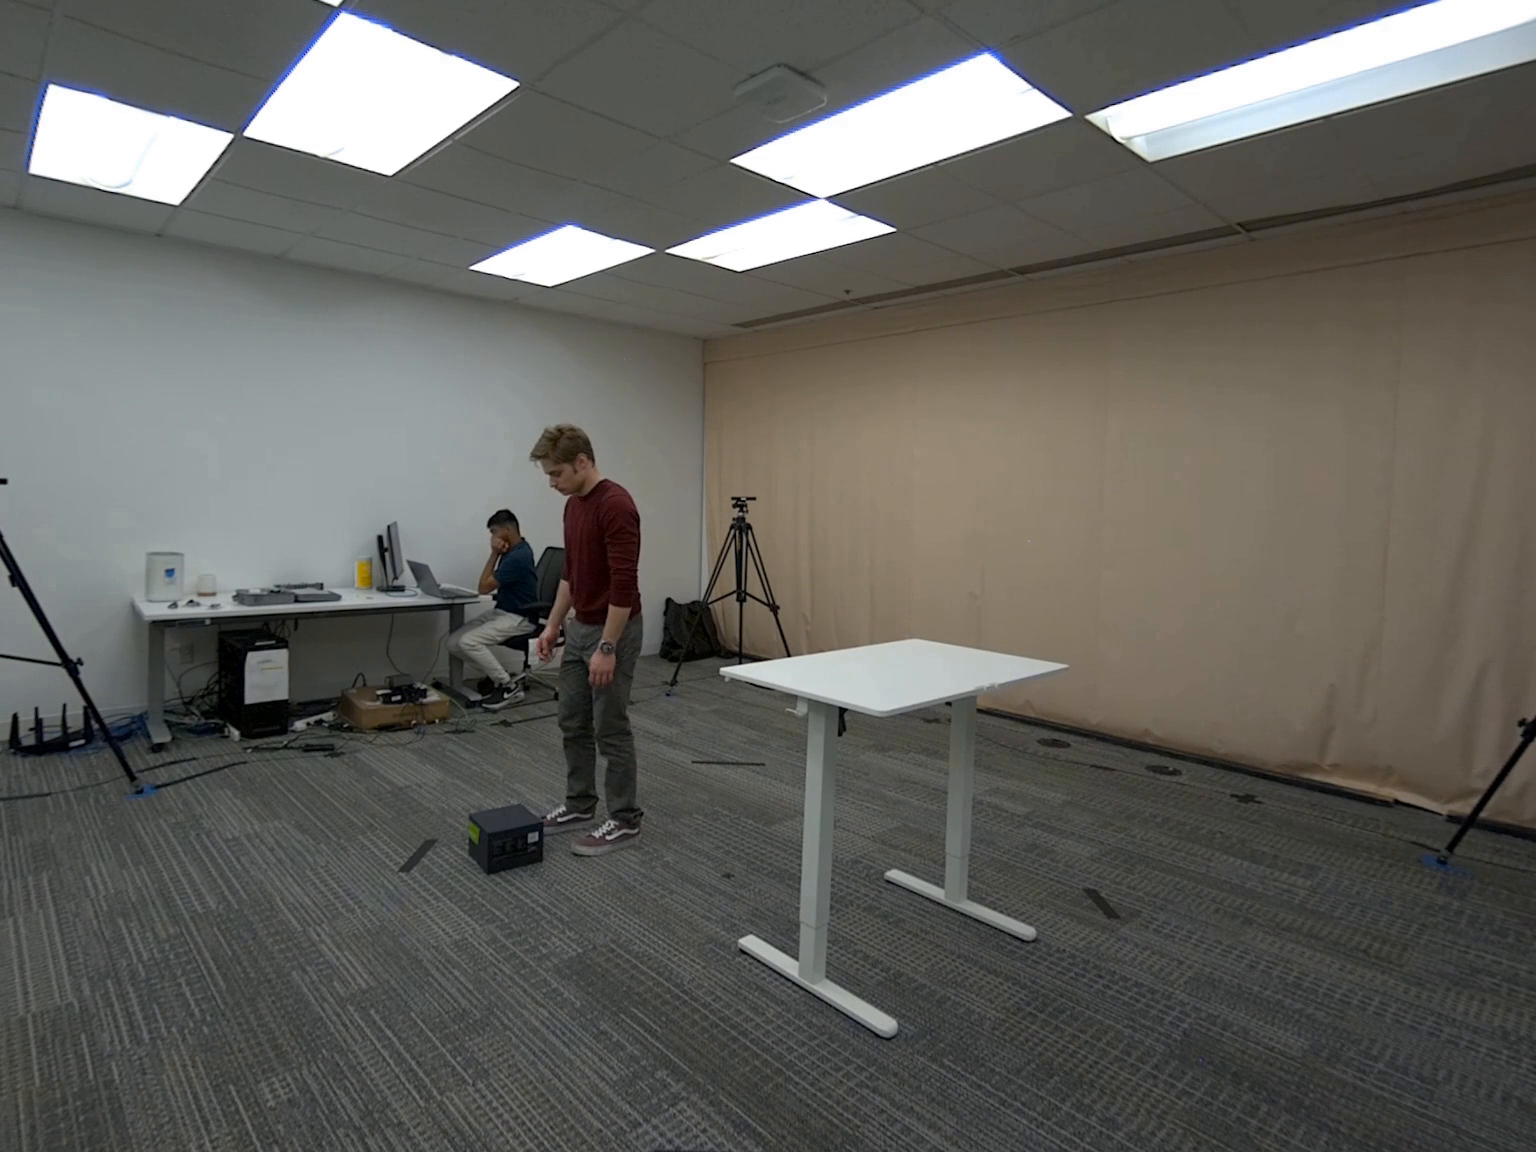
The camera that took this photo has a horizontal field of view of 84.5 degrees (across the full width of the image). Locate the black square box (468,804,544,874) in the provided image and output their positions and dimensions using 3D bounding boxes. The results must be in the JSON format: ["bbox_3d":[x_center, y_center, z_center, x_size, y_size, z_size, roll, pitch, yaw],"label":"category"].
[{"bbox_3d":[-1.008,0.994,3.209,0.212,0.155,0.233,-3,6,-37],"label":"black square box"}]
